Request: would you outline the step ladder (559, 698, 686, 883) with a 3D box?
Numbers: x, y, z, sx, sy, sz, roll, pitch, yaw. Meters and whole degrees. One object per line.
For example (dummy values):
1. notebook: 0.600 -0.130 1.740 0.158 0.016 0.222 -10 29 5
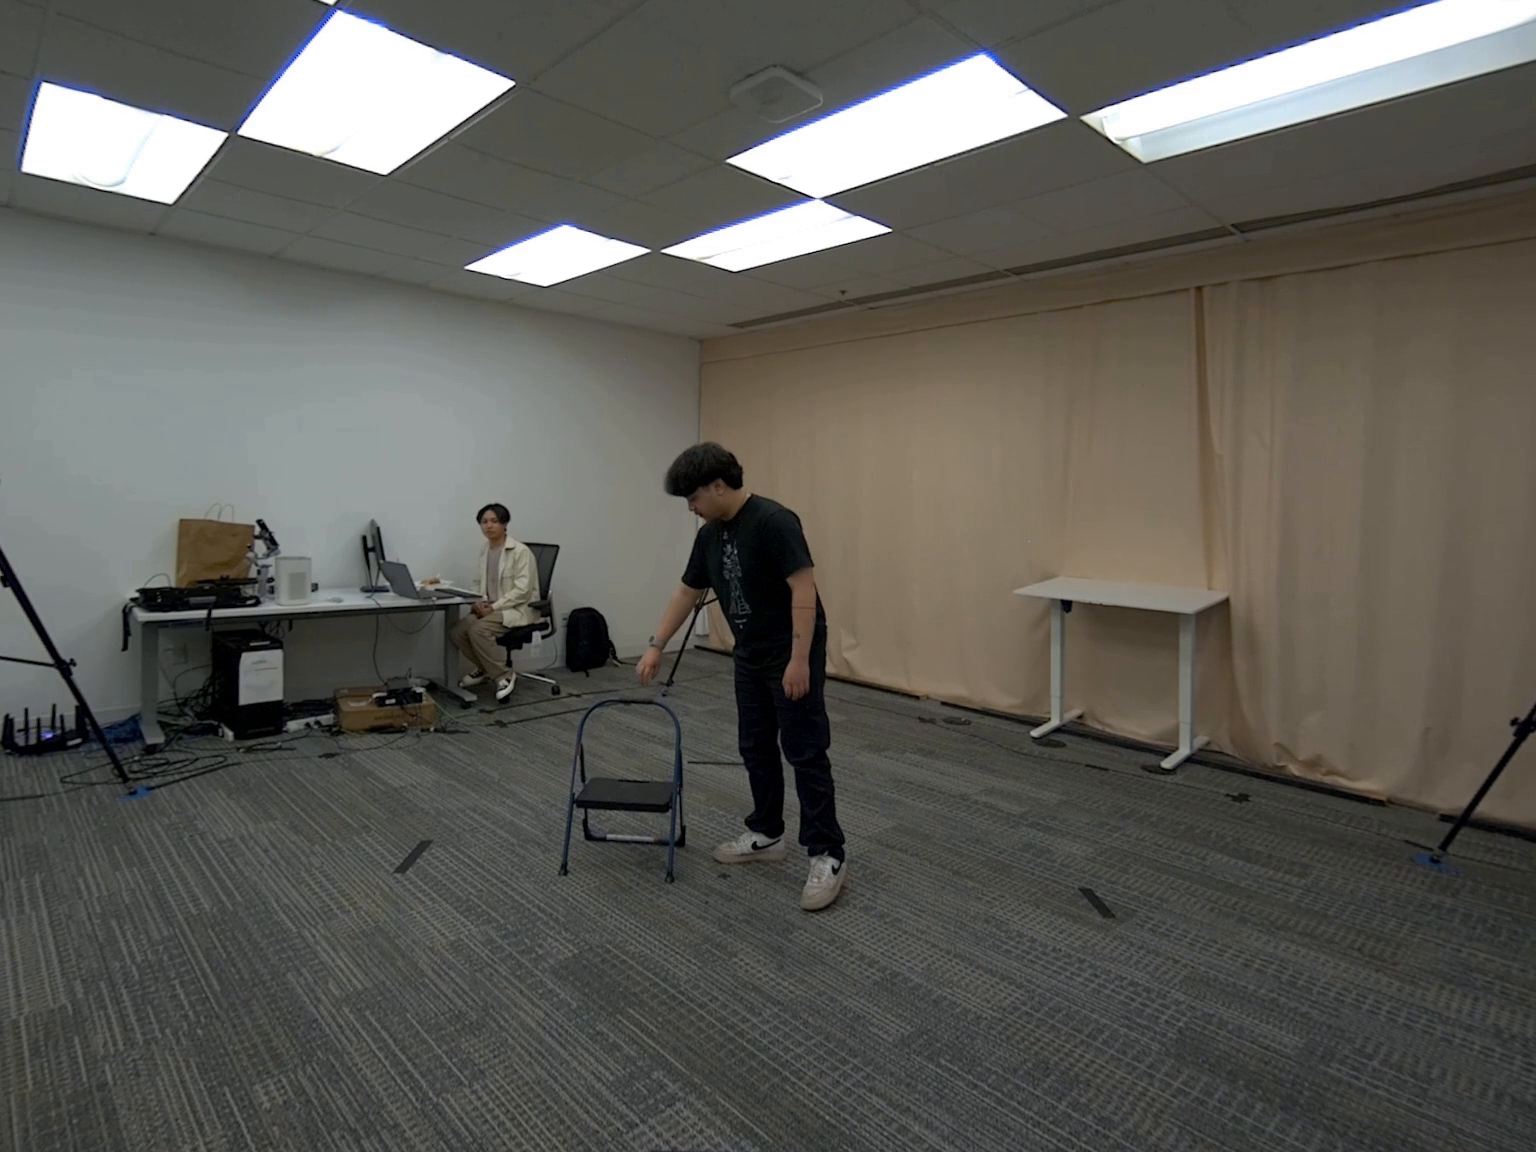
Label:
1. step ladder: -0.542 0.780 3.216 0.432 0.604 0.349 1 4 4
